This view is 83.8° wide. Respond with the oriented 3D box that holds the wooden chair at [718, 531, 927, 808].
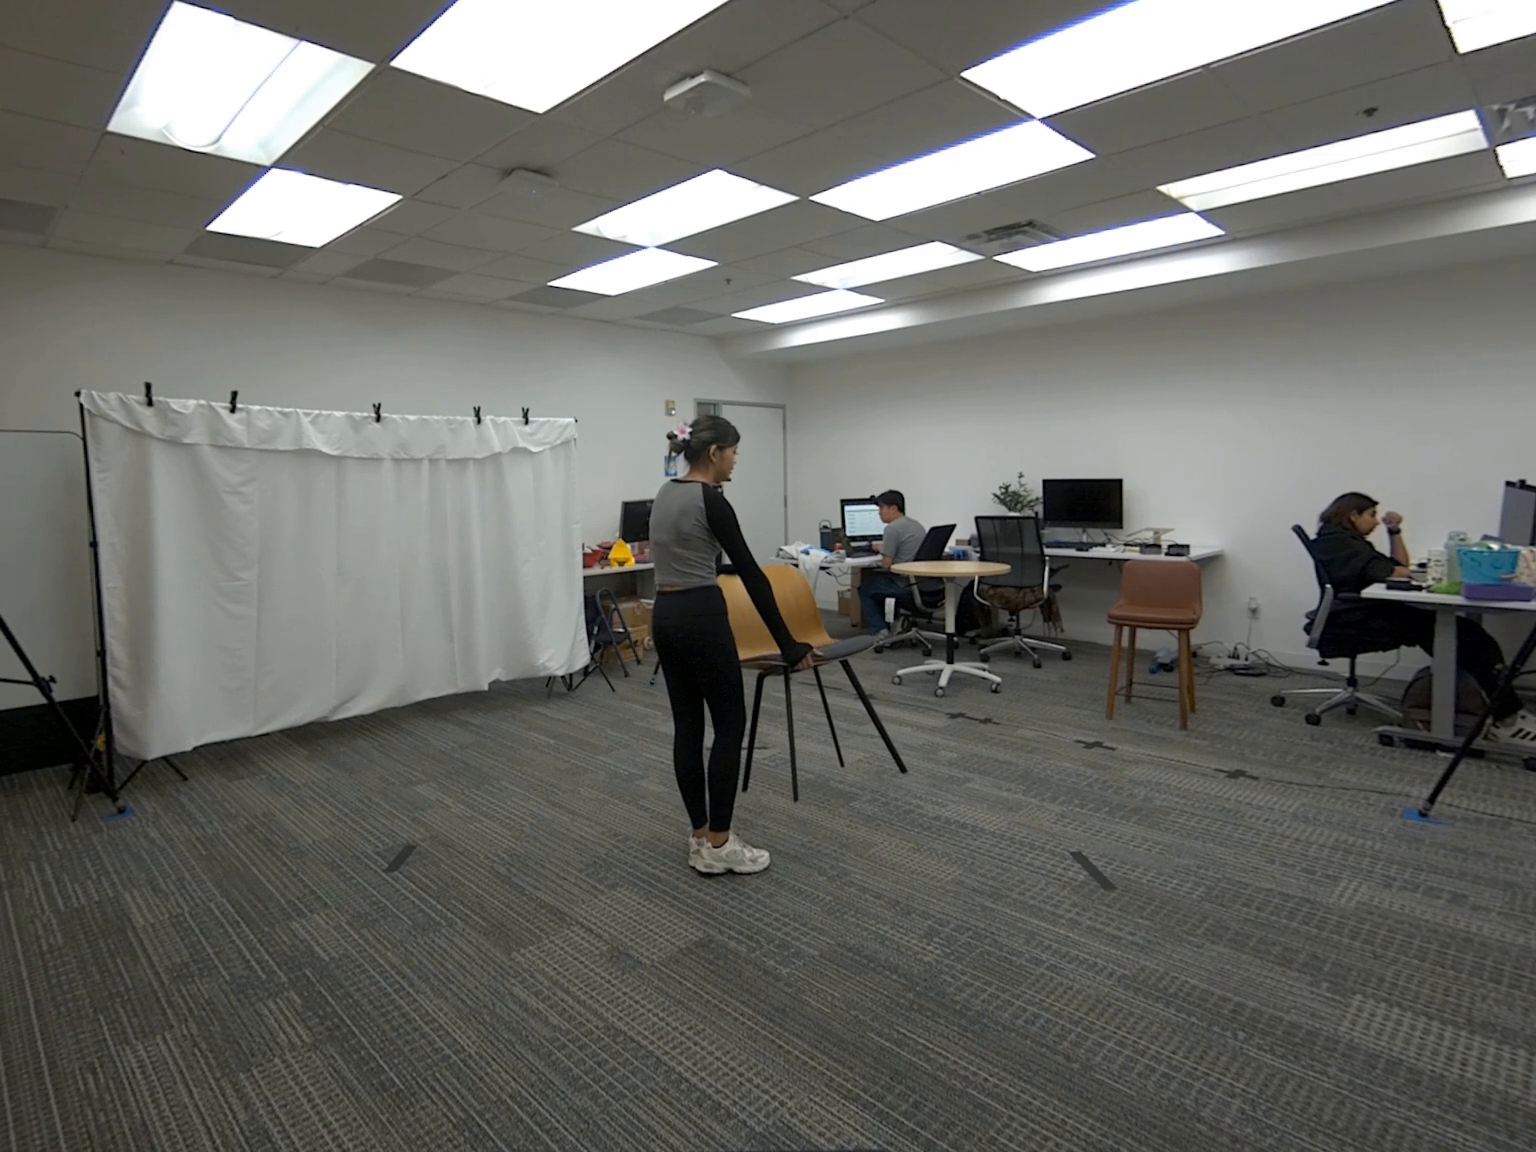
[{"bbox_3d":[0.130,0.346,3.173,0.469,0.888,0.527,-7,-12,-26],"label":"wooden chair"}]
